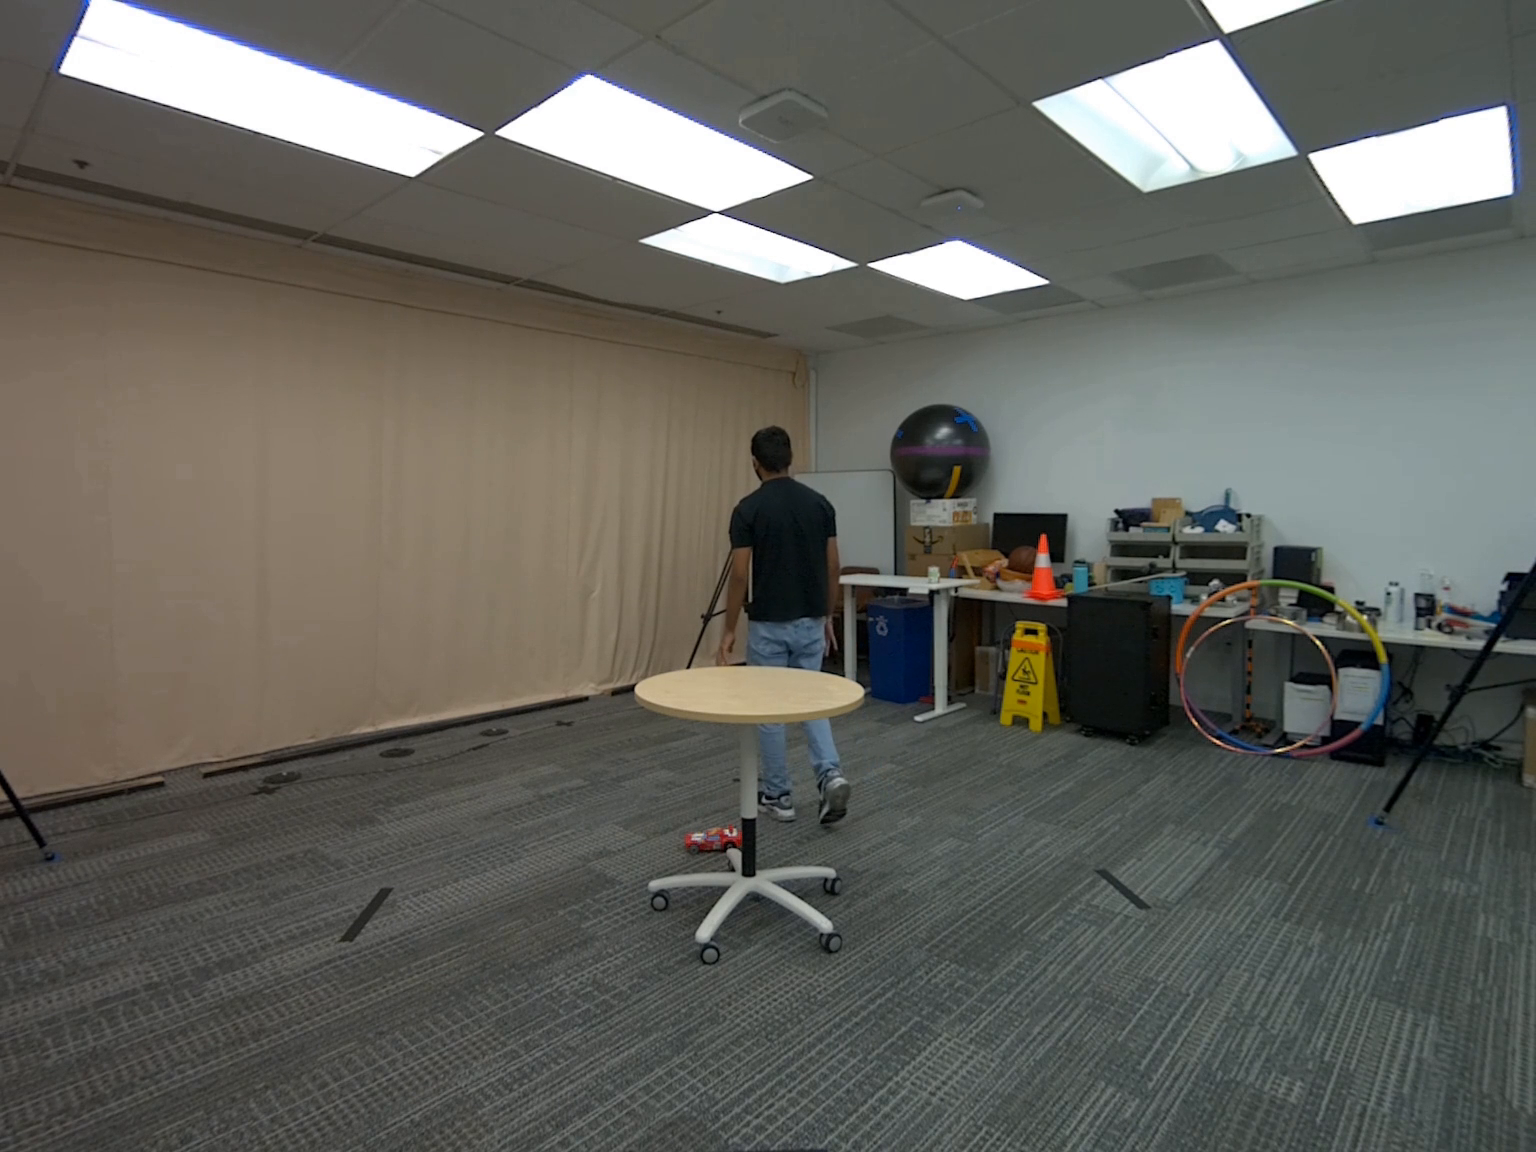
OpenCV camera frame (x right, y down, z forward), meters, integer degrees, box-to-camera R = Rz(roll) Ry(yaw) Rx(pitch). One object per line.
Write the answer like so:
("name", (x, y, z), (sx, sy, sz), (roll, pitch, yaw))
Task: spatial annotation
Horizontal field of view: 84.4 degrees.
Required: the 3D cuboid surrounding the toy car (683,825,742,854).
("toy car", (-0.214, 1.071, 3.430), (0.254, 0.083, 0.131), (-11, 7, -4))
